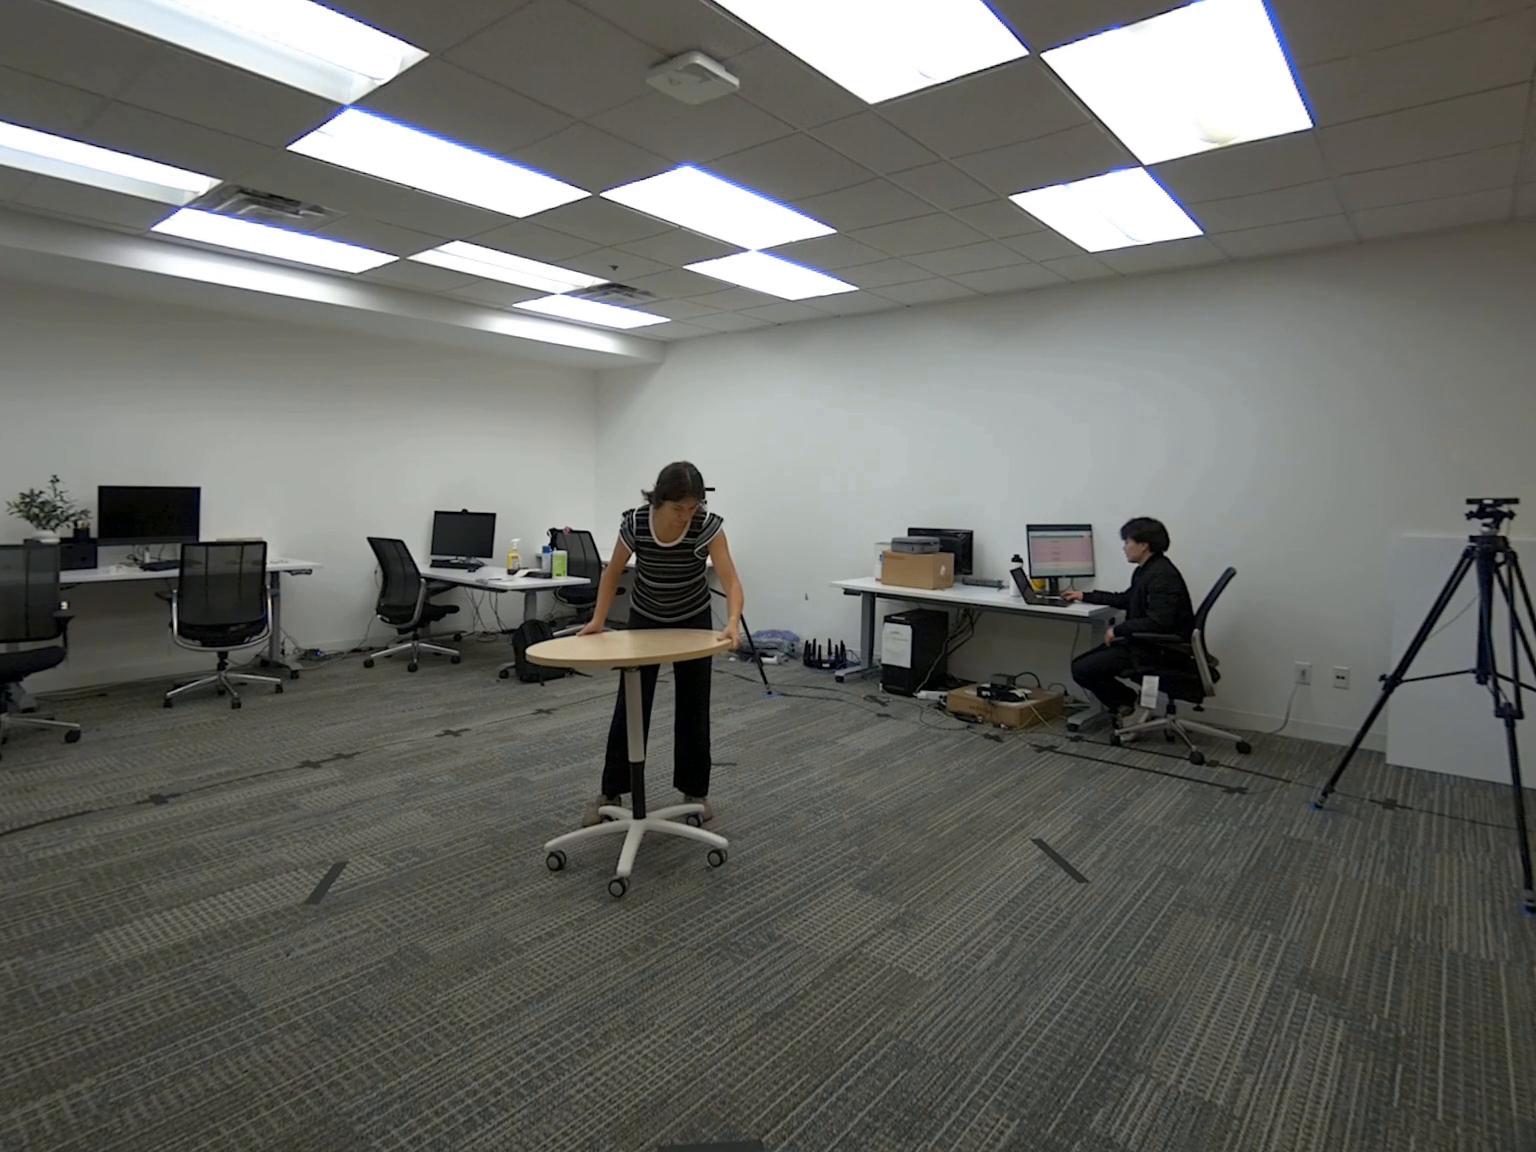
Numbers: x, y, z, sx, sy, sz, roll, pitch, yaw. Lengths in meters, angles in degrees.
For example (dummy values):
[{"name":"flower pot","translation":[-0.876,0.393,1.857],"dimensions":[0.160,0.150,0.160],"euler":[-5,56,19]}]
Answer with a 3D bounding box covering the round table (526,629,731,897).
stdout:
[{"name":"round table","translation":[-0.487,0.639,3.172],"dimensions":[0.784,0.785,0.787],"euler":[-3,3,-2]}]
